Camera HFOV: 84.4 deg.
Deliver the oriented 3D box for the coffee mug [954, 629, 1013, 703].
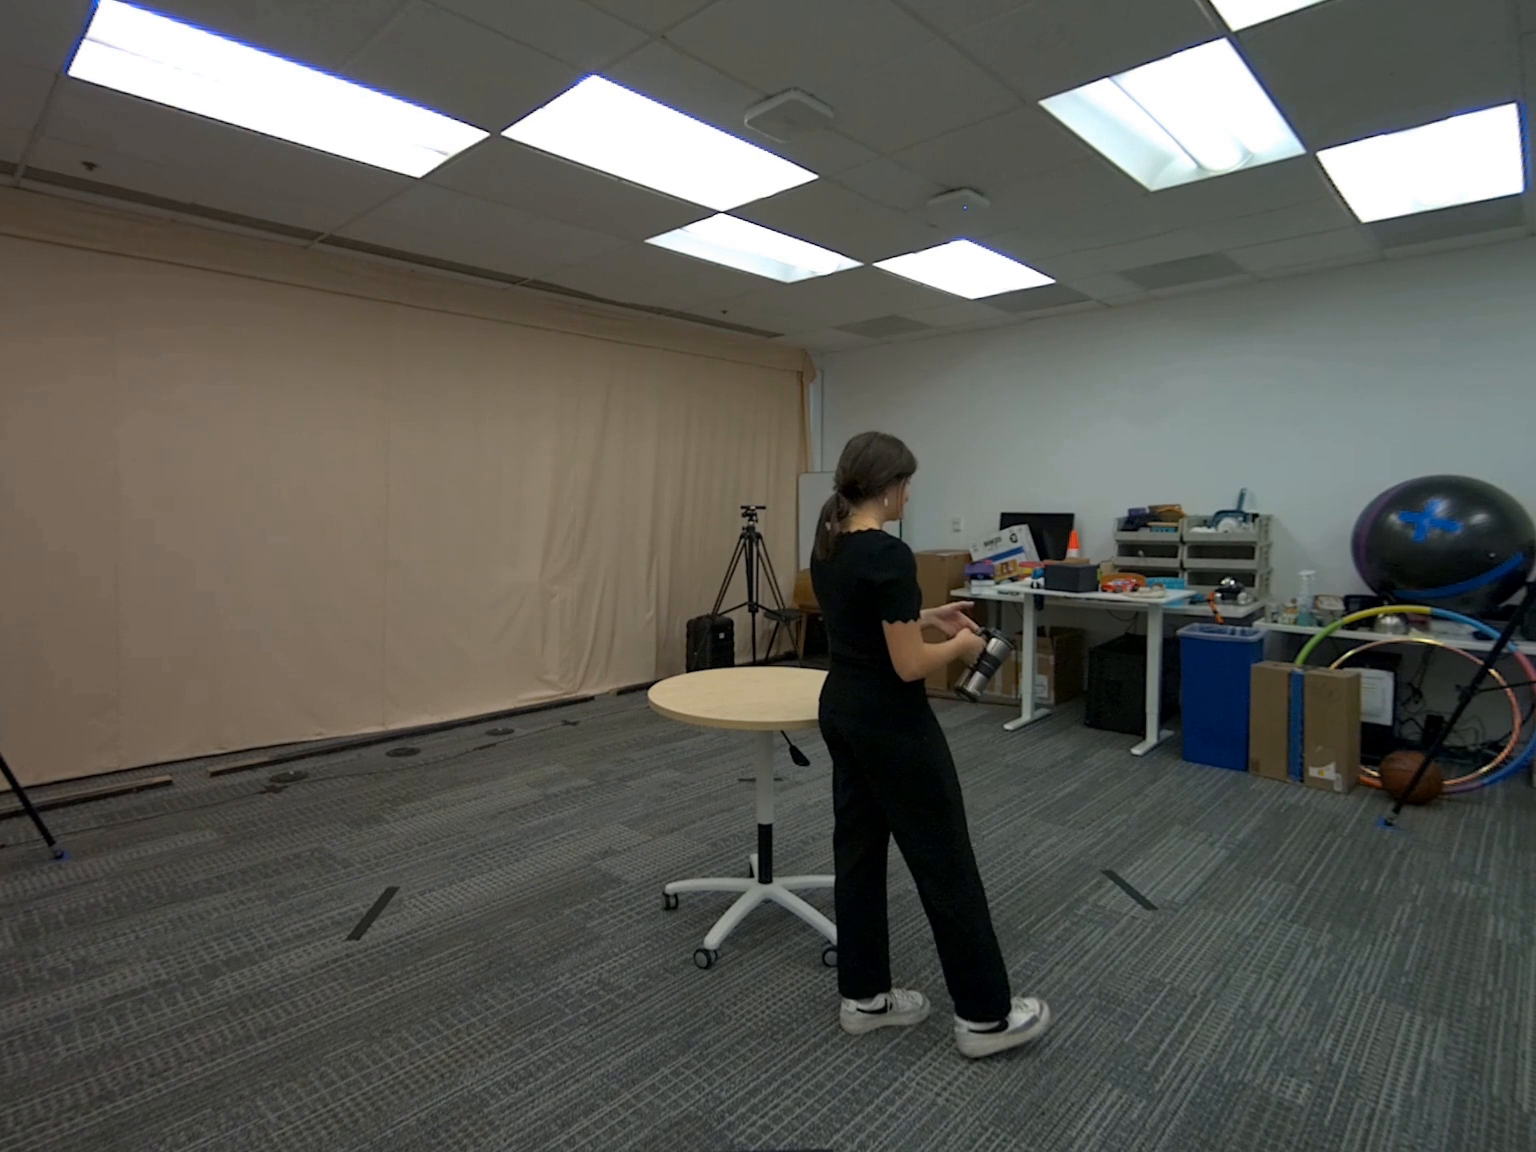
[{"bbox_3d":[0.583,0.260,2.294,0.118,0.202,0.091,46,-11,-29],"label":"coffee mug"}]
